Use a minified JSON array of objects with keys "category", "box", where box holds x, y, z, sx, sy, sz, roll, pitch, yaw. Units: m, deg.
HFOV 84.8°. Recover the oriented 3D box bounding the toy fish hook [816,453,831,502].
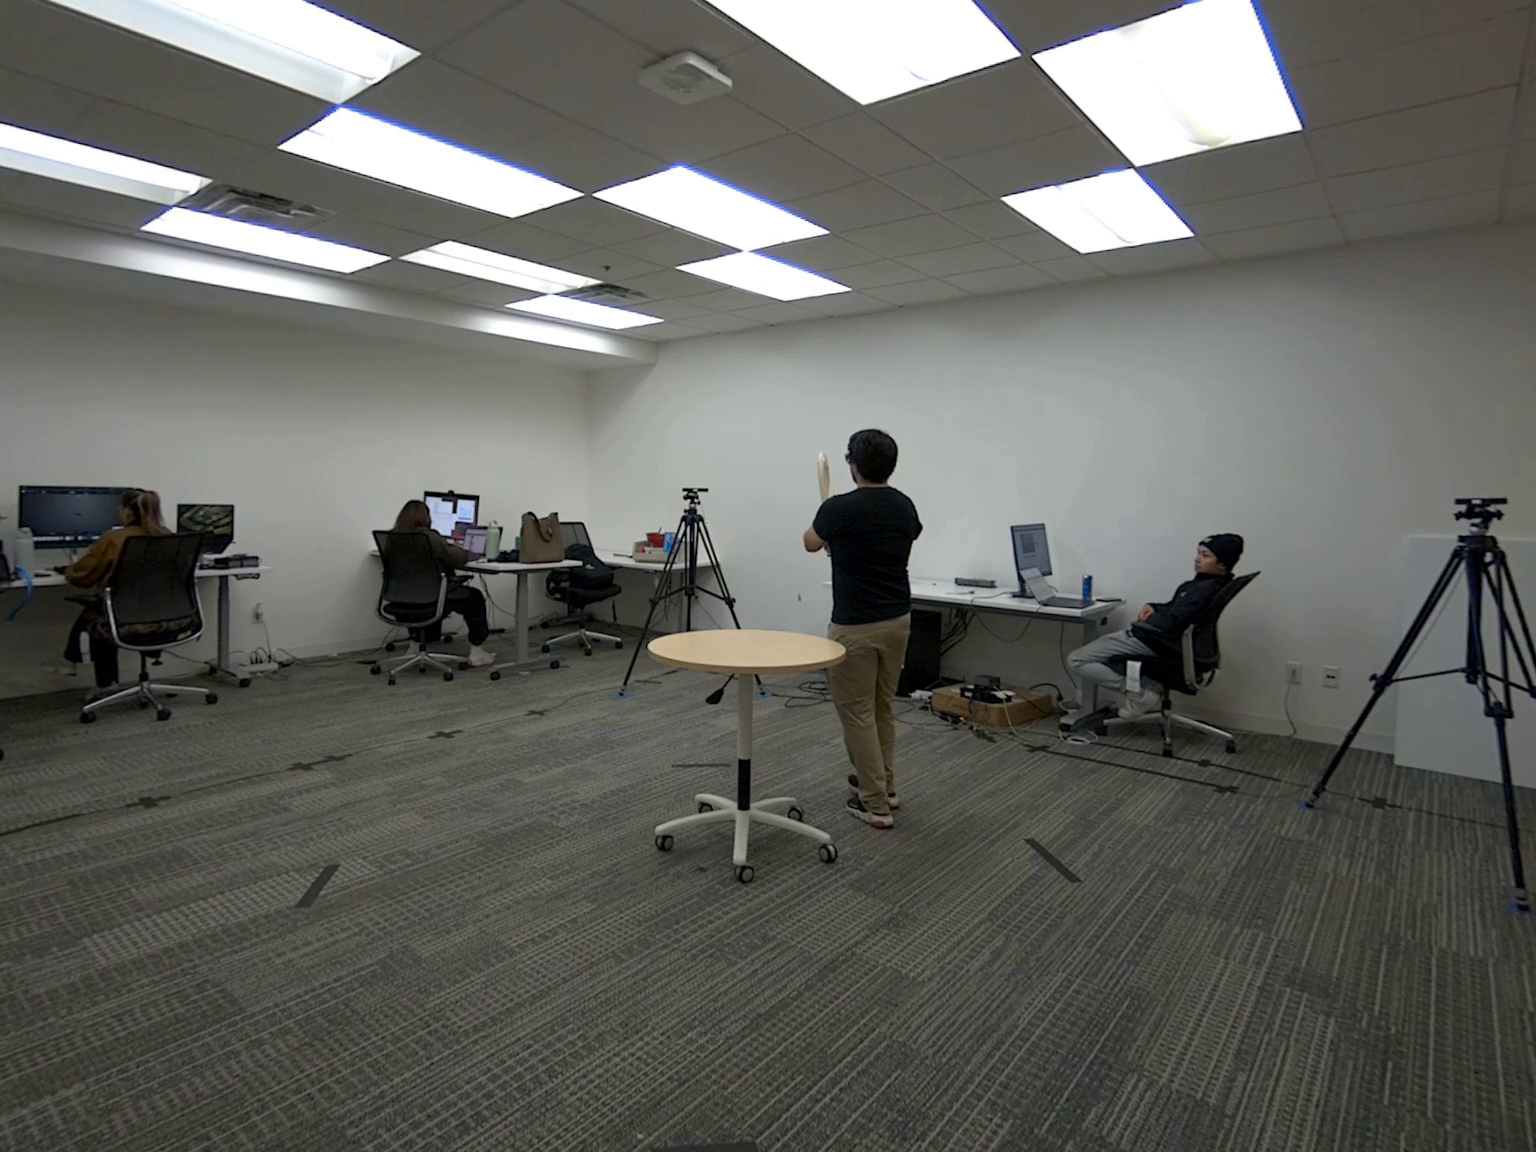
[{"category":"toy fish hook","box":[0.277,-0.349,4.104,0.049,0.510,0.219,-4,-8,15]}]
